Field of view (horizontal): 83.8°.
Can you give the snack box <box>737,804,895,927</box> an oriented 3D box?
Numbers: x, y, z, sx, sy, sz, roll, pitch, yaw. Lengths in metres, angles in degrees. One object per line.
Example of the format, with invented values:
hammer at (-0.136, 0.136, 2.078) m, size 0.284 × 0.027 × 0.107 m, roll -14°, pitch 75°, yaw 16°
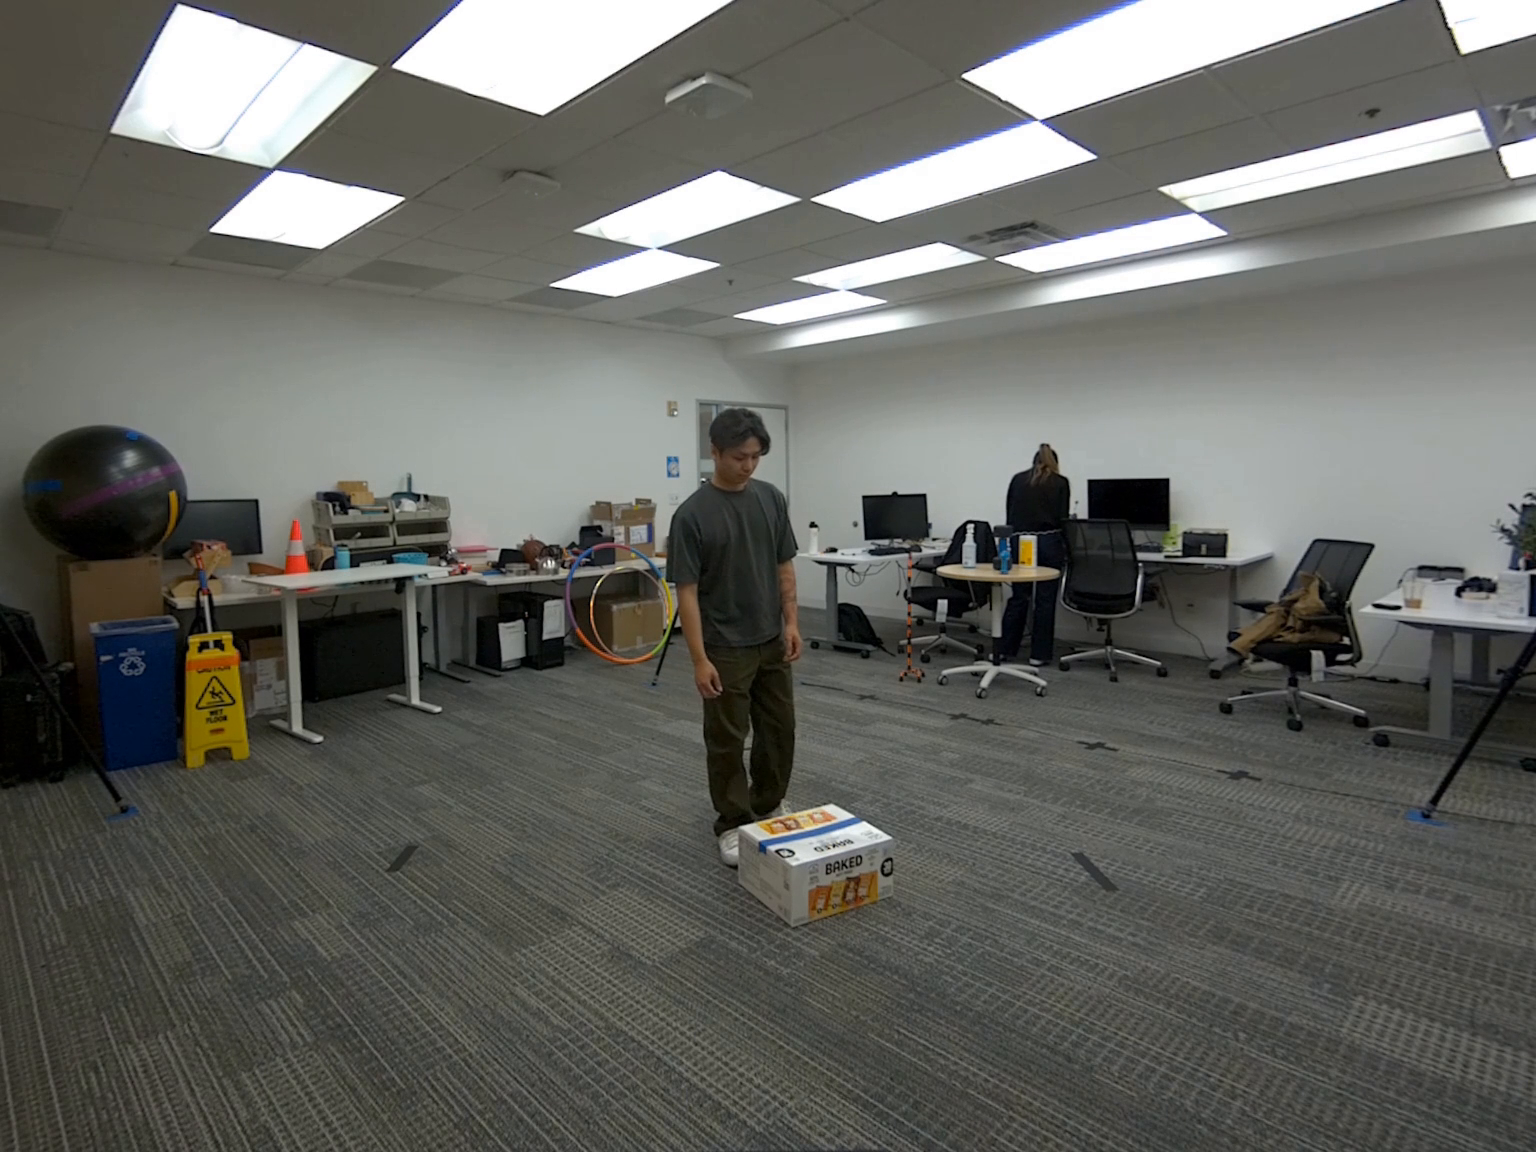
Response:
snack box at (0.157, 0.959, 2.883) m, size 0.396 × 0.205 × 0.350 m, roll -4°, pitch 6°, yaw -30°
